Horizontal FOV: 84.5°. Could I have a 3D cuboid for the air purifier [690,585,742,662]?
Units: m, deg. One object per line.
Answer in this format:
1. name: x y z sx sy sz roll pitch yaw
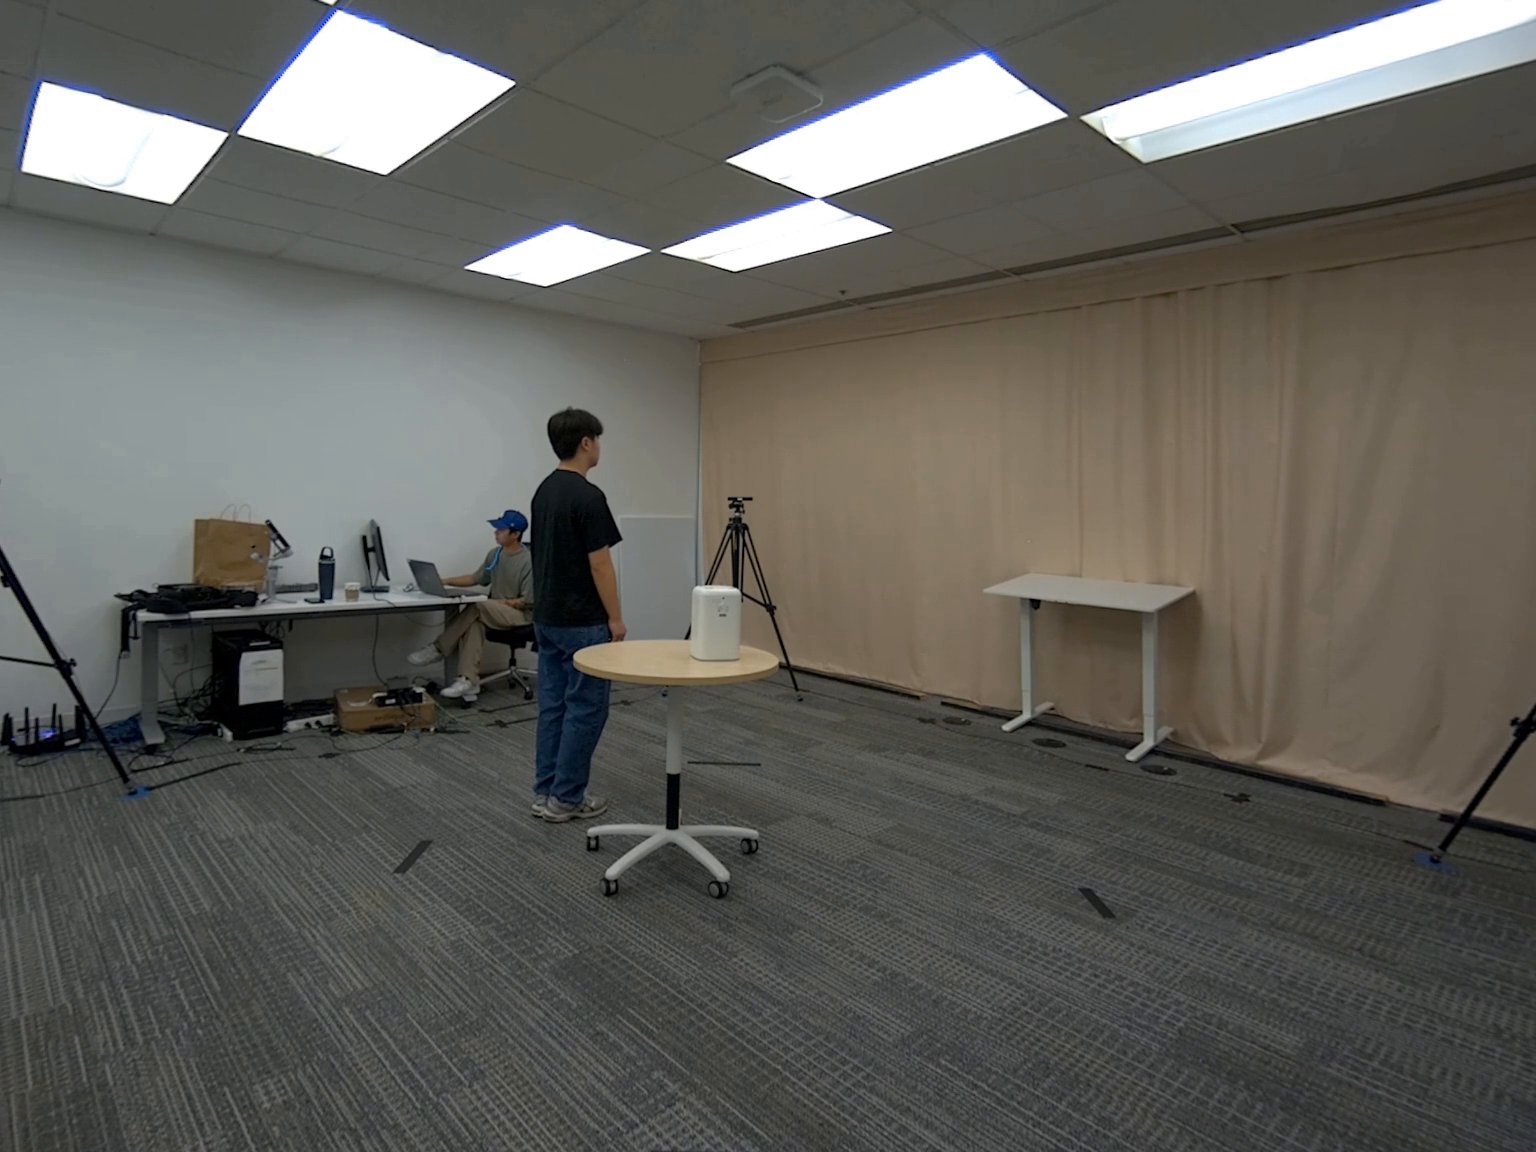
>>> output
1. air purifier: -0.205 0.174 3.164 0.169 0.265 0.174 2 2 -17
